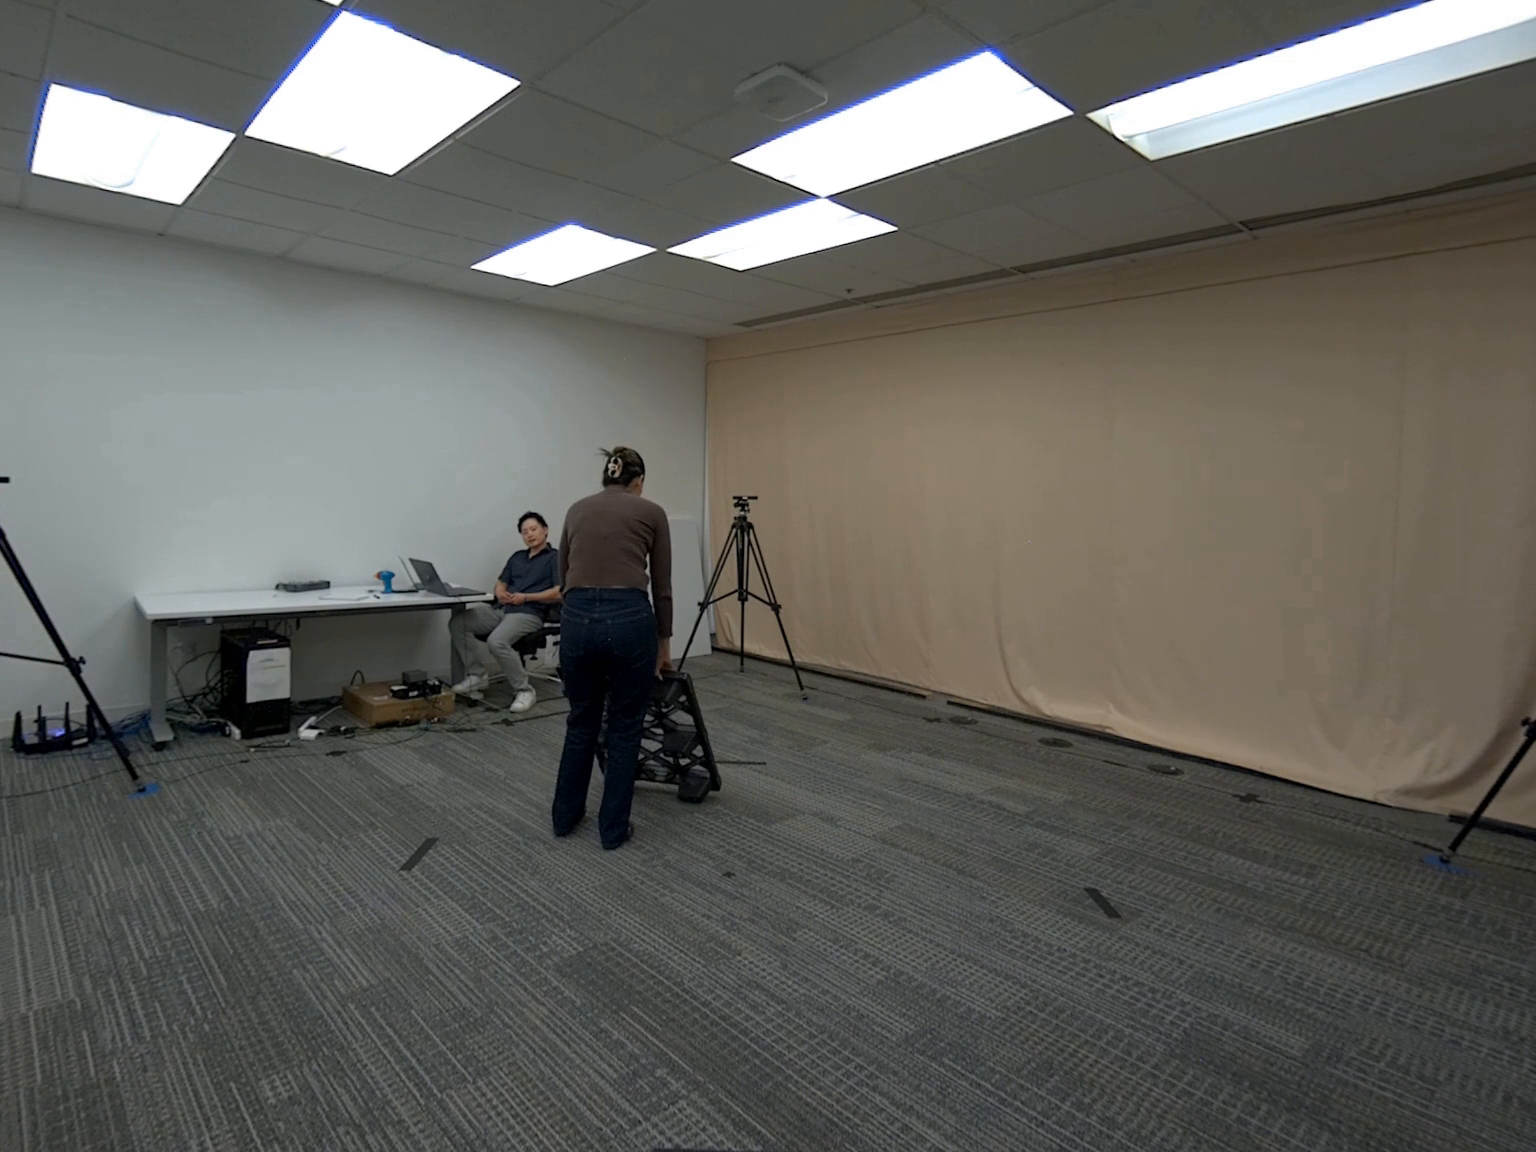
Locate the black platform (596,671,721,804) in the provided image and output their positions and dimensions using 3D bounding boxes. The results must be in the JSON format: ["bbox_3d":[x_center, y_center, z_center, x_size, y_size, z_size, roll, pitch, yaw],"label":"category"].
[{"bbox_3d":[-0.578,0.707,3.710,0.613,0.785,0.145,3,41,15],"label":"black platform"}]
